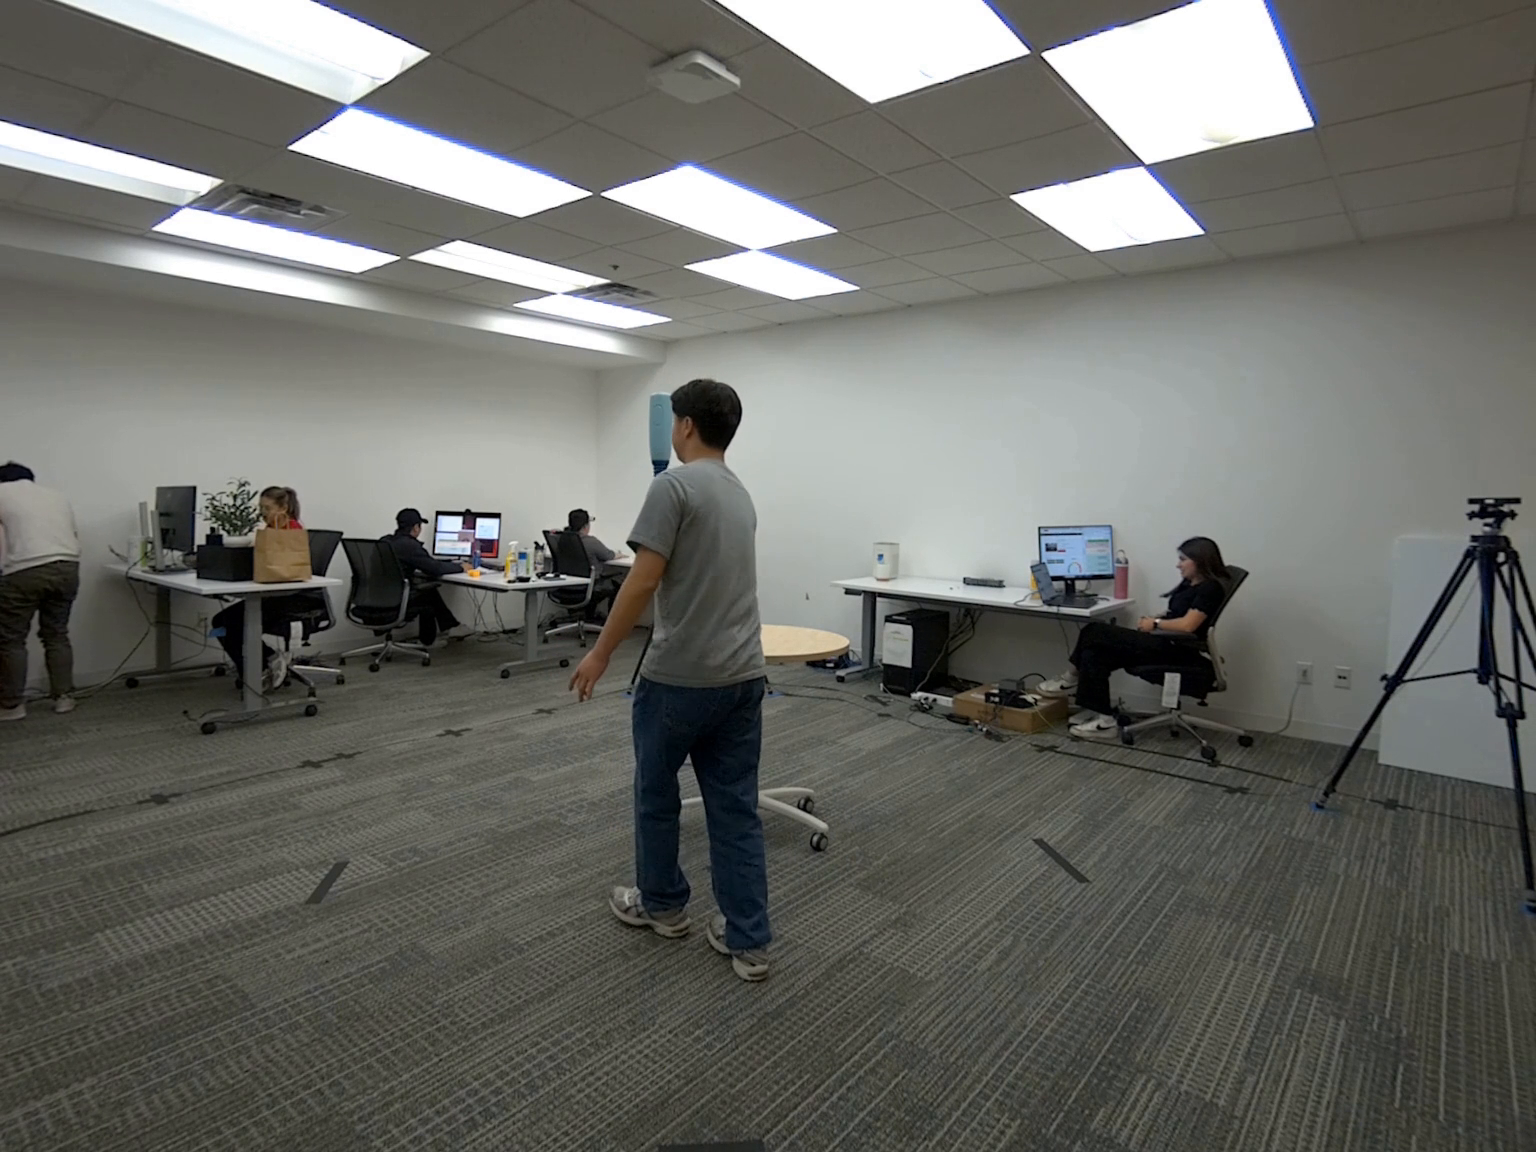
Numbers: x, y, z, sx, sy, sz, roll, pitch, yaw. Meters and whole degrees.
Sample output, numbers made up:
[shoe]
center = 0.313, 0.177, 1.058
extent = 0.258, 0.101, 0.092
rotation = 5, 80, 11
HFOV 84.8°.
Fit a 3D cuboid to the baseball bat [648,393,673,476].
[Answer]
[baseball bat]
center = -0.415, -0.420, 3.177
extent = 0.089, 0.542, 0.089
rotation = 0, 2, -2
